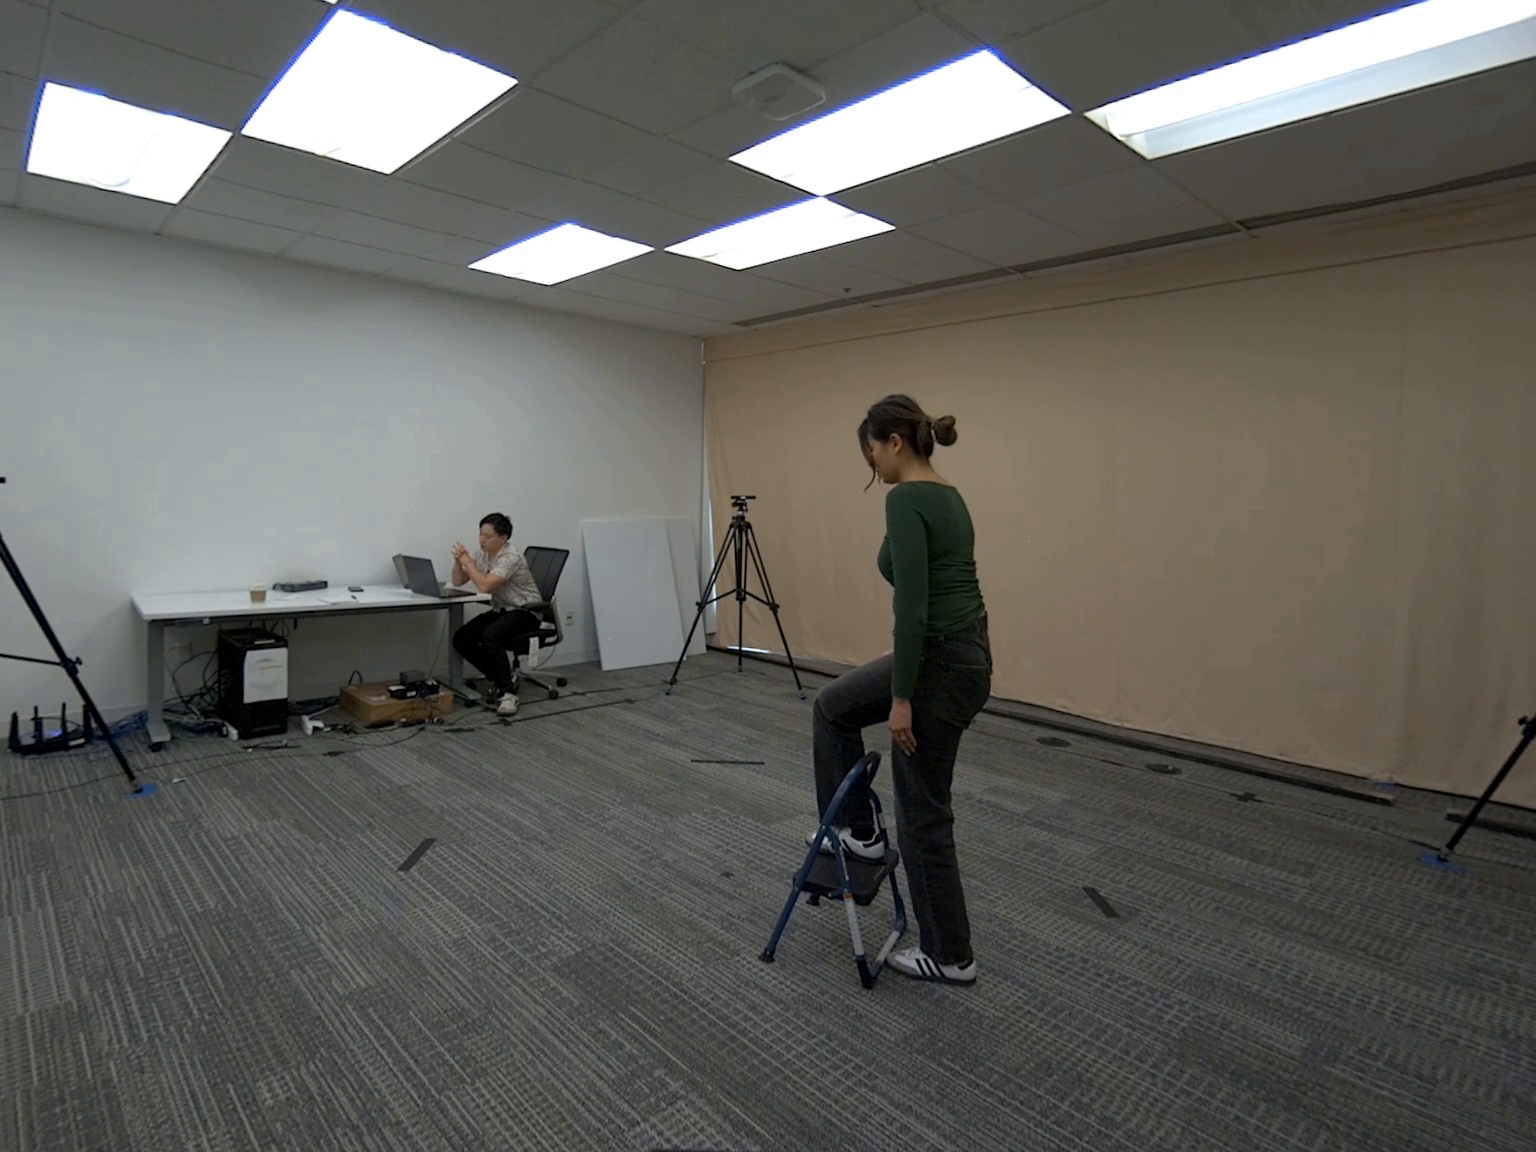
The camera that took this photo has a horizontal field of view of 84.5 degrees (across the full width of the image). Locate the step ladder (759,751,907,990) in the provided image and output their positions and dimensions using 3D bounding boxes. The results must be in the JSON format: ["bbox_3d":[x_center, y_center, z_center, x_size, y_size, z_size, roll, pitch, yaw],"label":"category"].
[{"bbox_3d":[0.221,0.852,2.626,0.356,0.604,0.423,4,4,24],"label":"step ladder"}]
